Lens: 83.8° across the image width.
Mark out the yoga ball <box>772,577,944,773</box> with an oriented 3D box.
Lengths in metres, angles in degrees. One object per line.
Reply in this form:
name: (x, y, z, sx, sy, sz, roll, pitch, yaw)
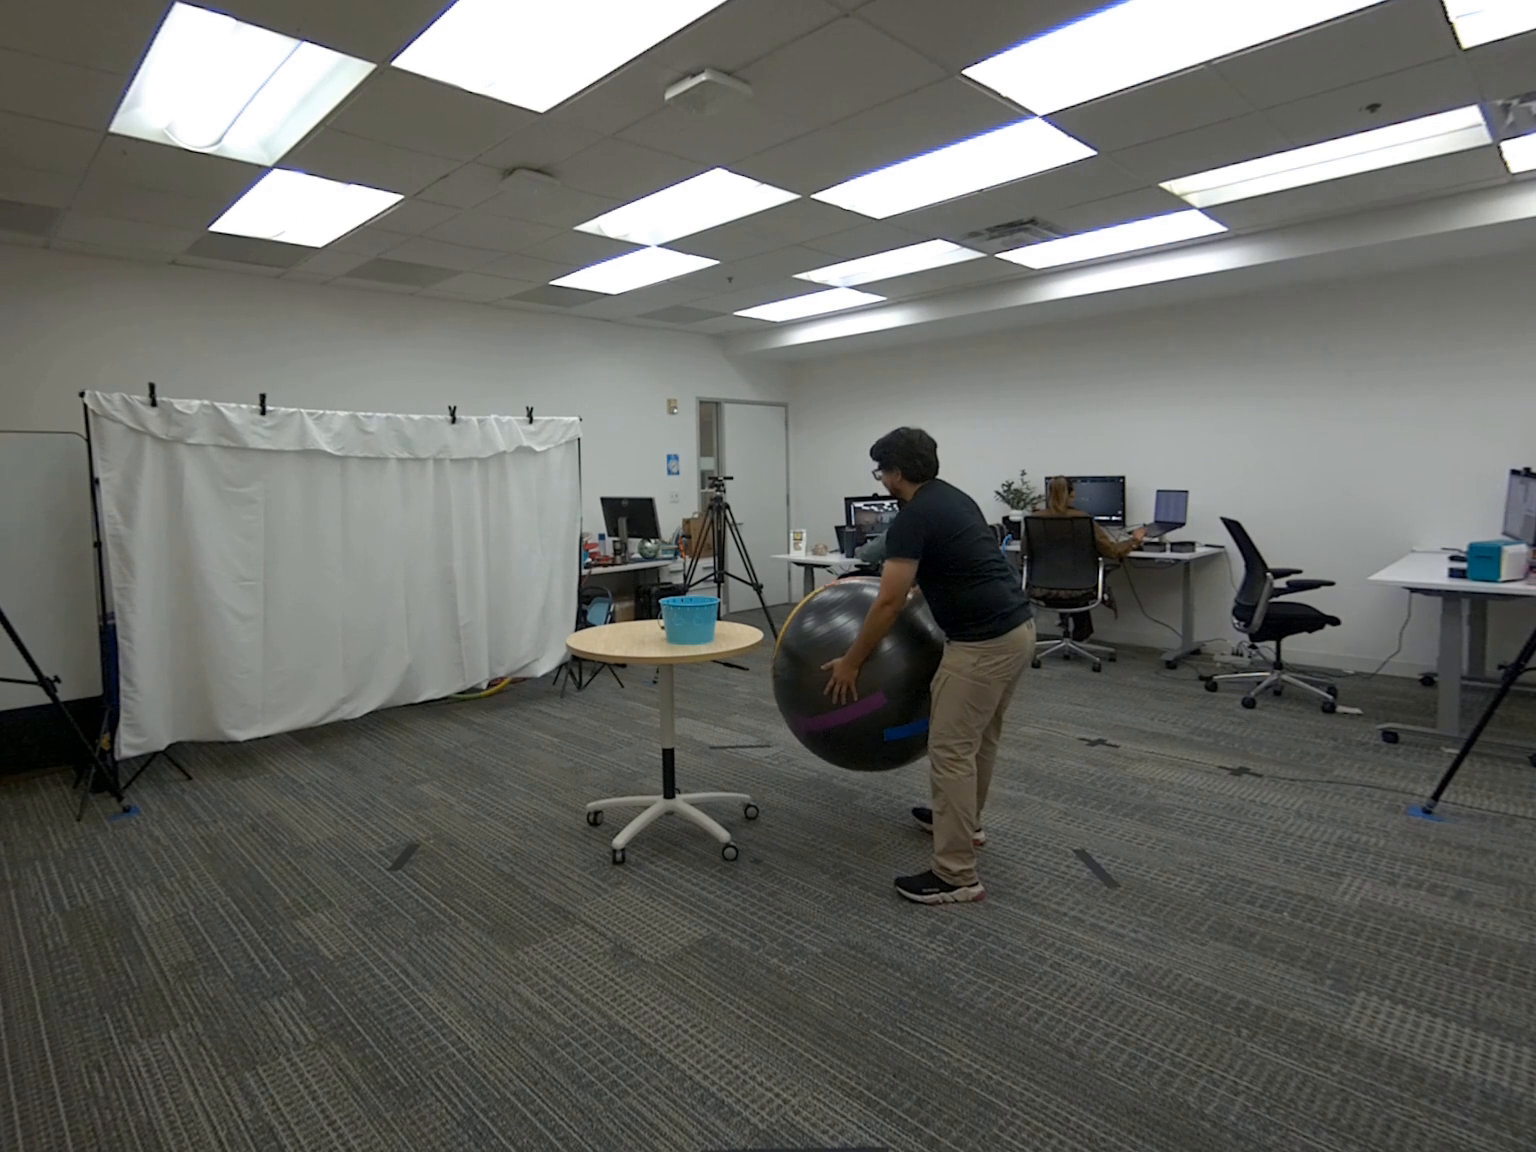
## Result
yoga ball: (0.412, 0.385, 3.377, 0.757, 0.755, 0.762, -1, 5, -2)
